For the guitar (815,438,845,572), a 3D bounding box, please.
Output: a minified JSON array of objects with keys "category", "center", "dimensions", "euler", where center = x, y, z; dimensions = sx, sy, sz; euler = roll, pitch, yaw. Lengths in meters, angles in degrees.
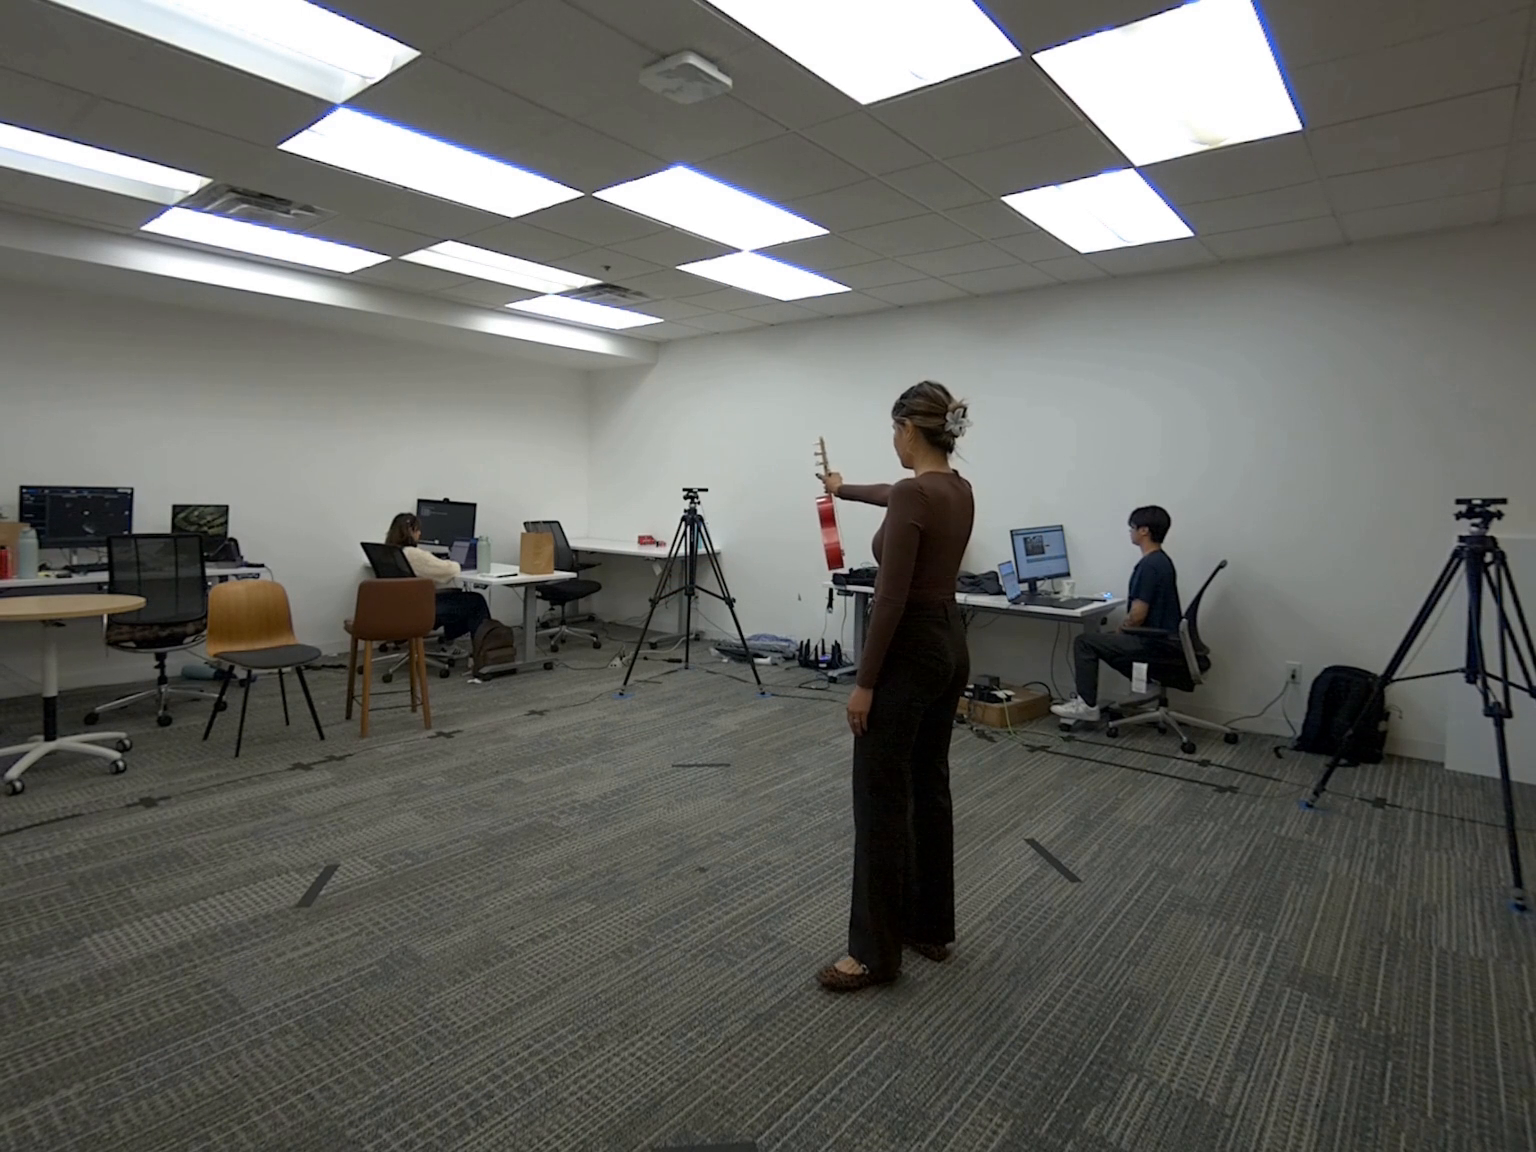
[{"category":"guitar","center":[0.209,-0.272,3.194],"dimensions":[0.071,0.505,0.190],"euler":[-9,-12,2]}]
